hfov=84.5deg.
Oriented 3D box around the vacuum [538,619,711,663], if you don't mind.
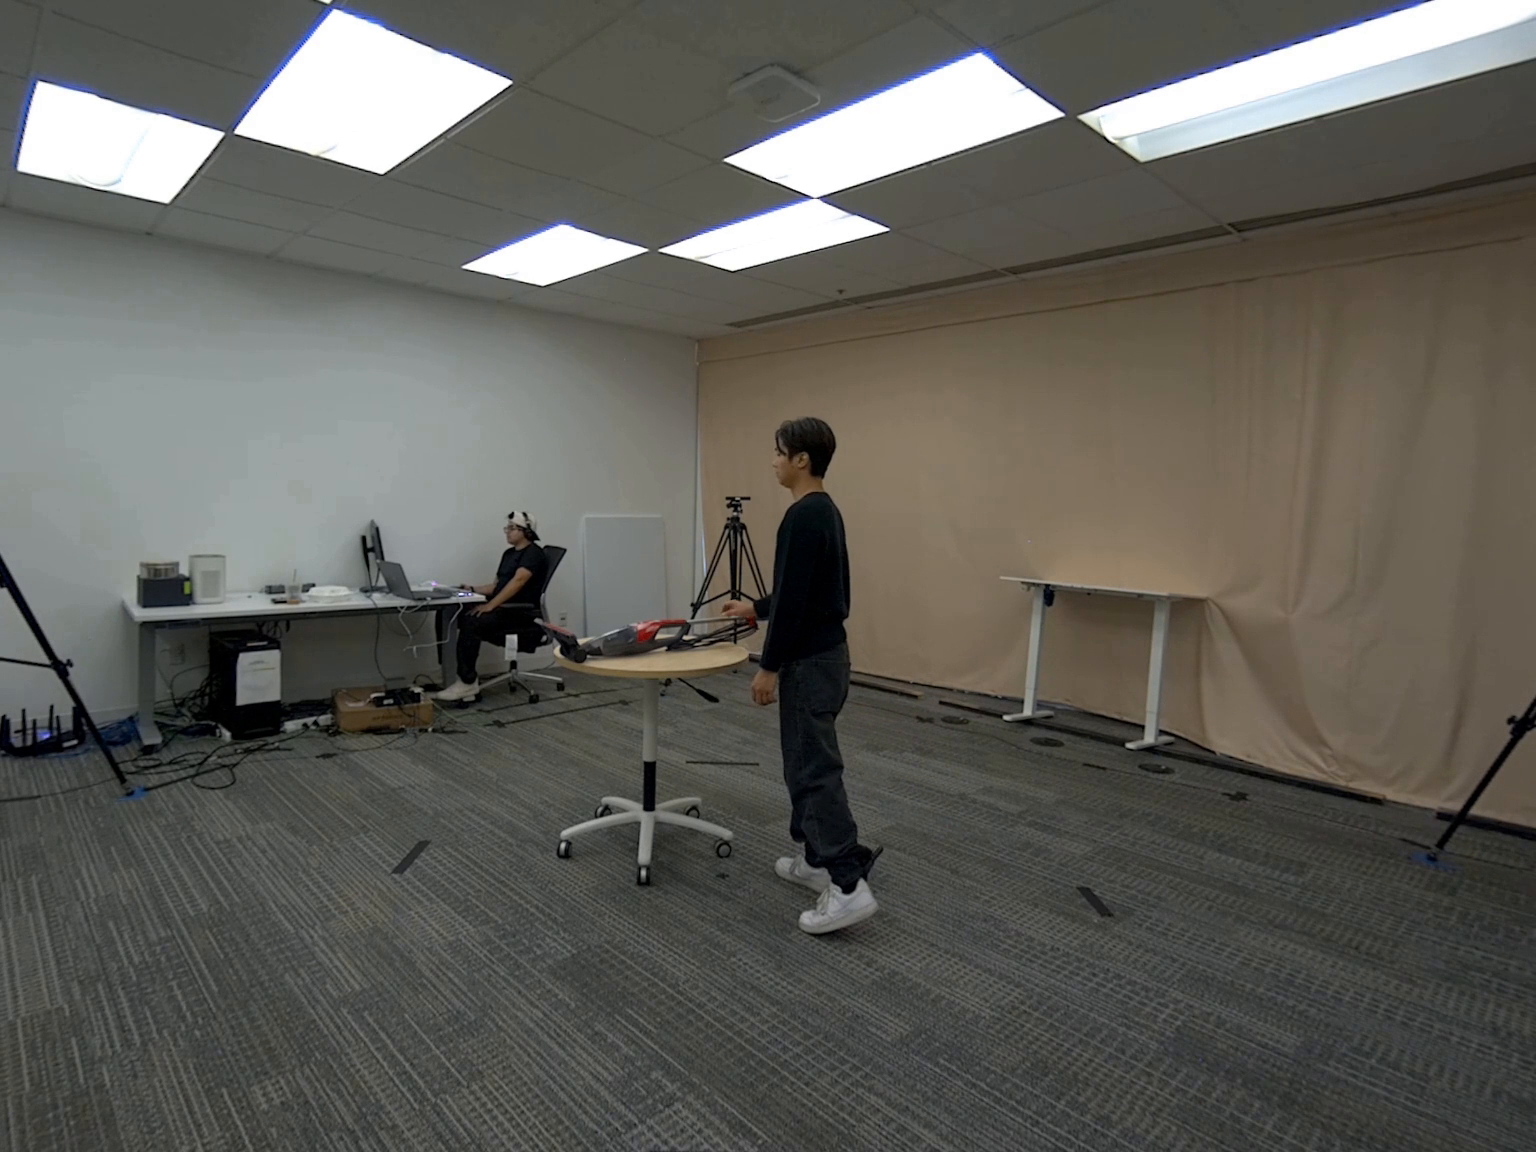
[{"bbox_3d":[-0.334,0.242,3.367,1.027,0.143,0.258,-3,5,-34],"label":"vacuum"}]
